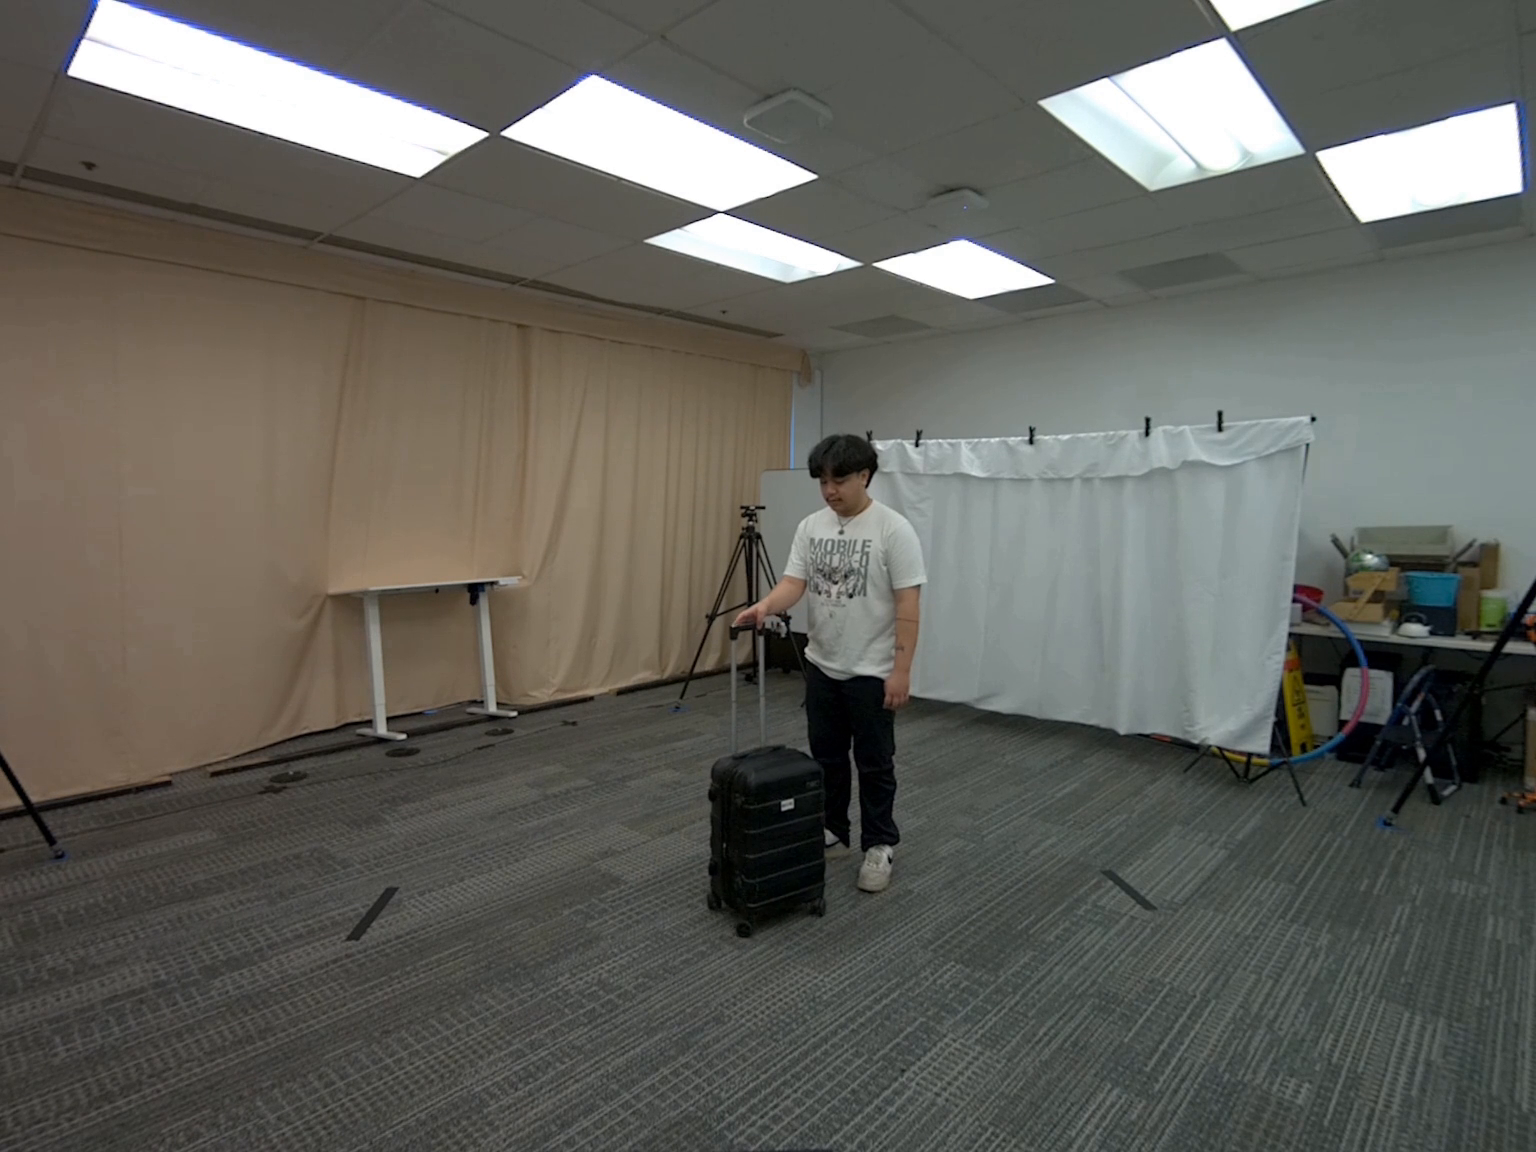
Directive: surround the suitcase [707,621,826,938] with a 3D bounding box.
[{"bbox_3d":[0.002,0.682,2.869,0.373,0.976,0.265,-2,5,-34],"label":"suitcase"}]
